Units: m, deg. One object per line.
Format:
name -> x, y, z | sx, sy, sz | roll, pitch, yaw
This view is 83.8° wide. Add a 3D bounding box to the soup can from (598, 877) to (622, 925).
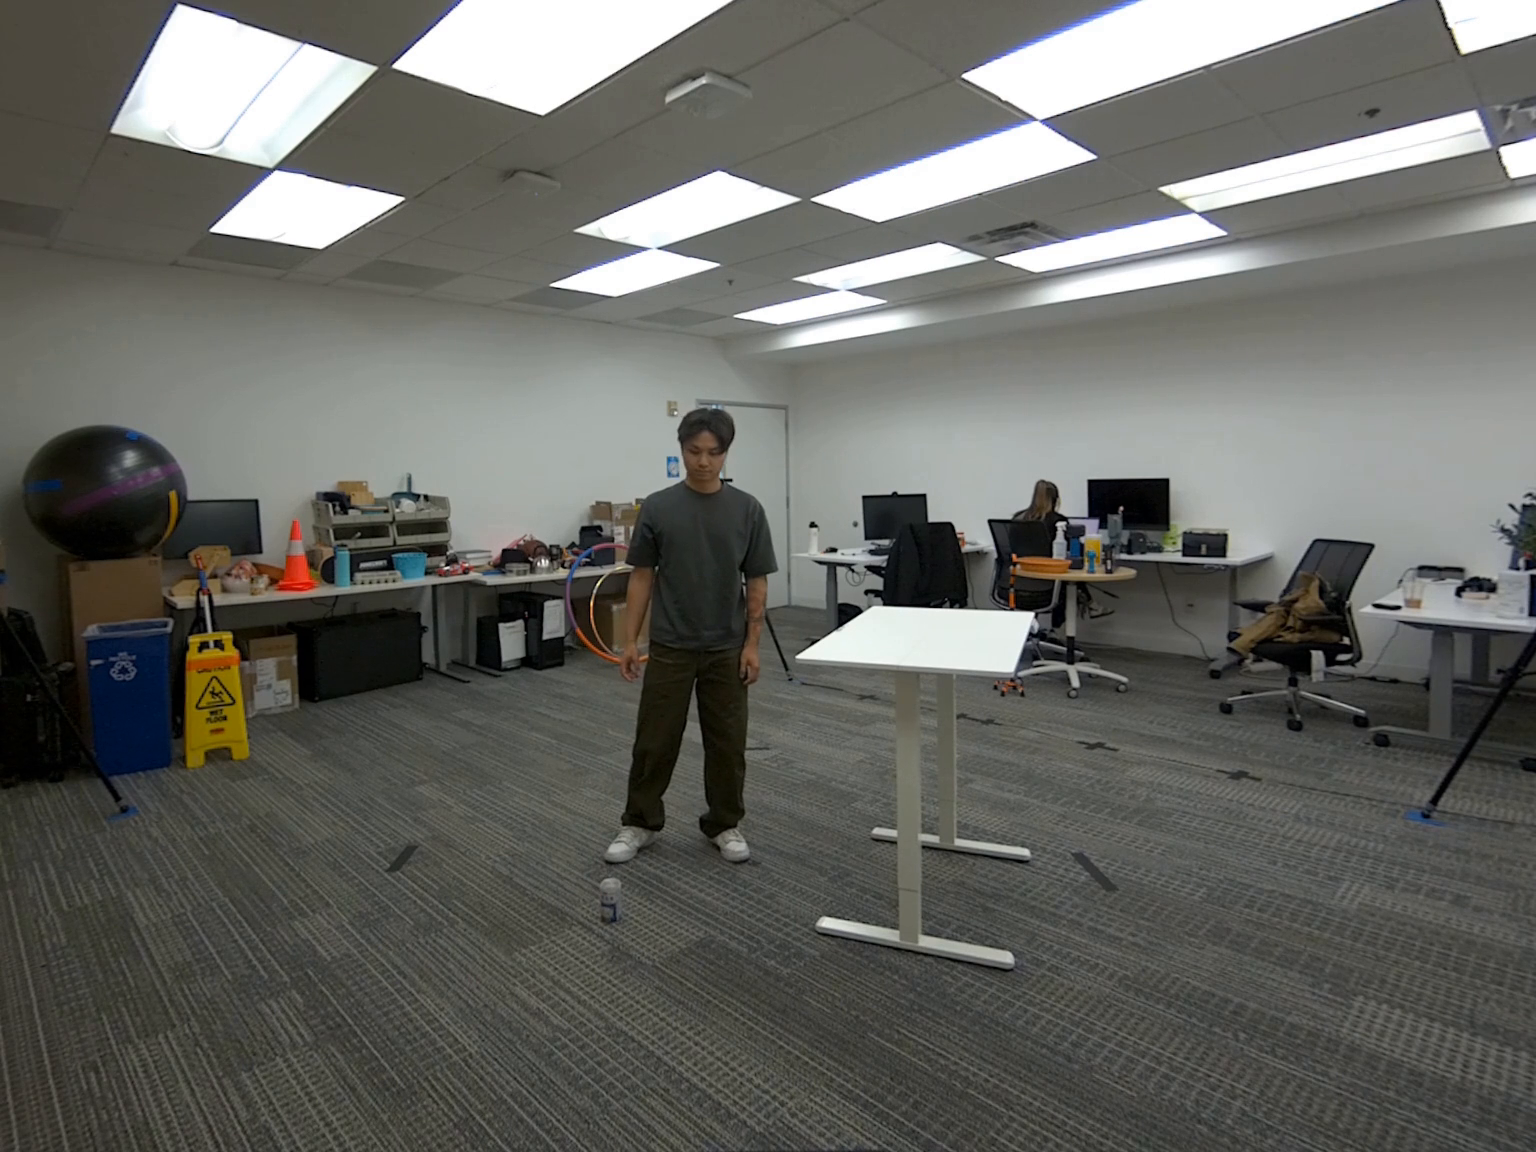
soup can -> -0.507, 1.047, 2.730 | 0.067, 0.120, 0.068 | -4, 8, -1
